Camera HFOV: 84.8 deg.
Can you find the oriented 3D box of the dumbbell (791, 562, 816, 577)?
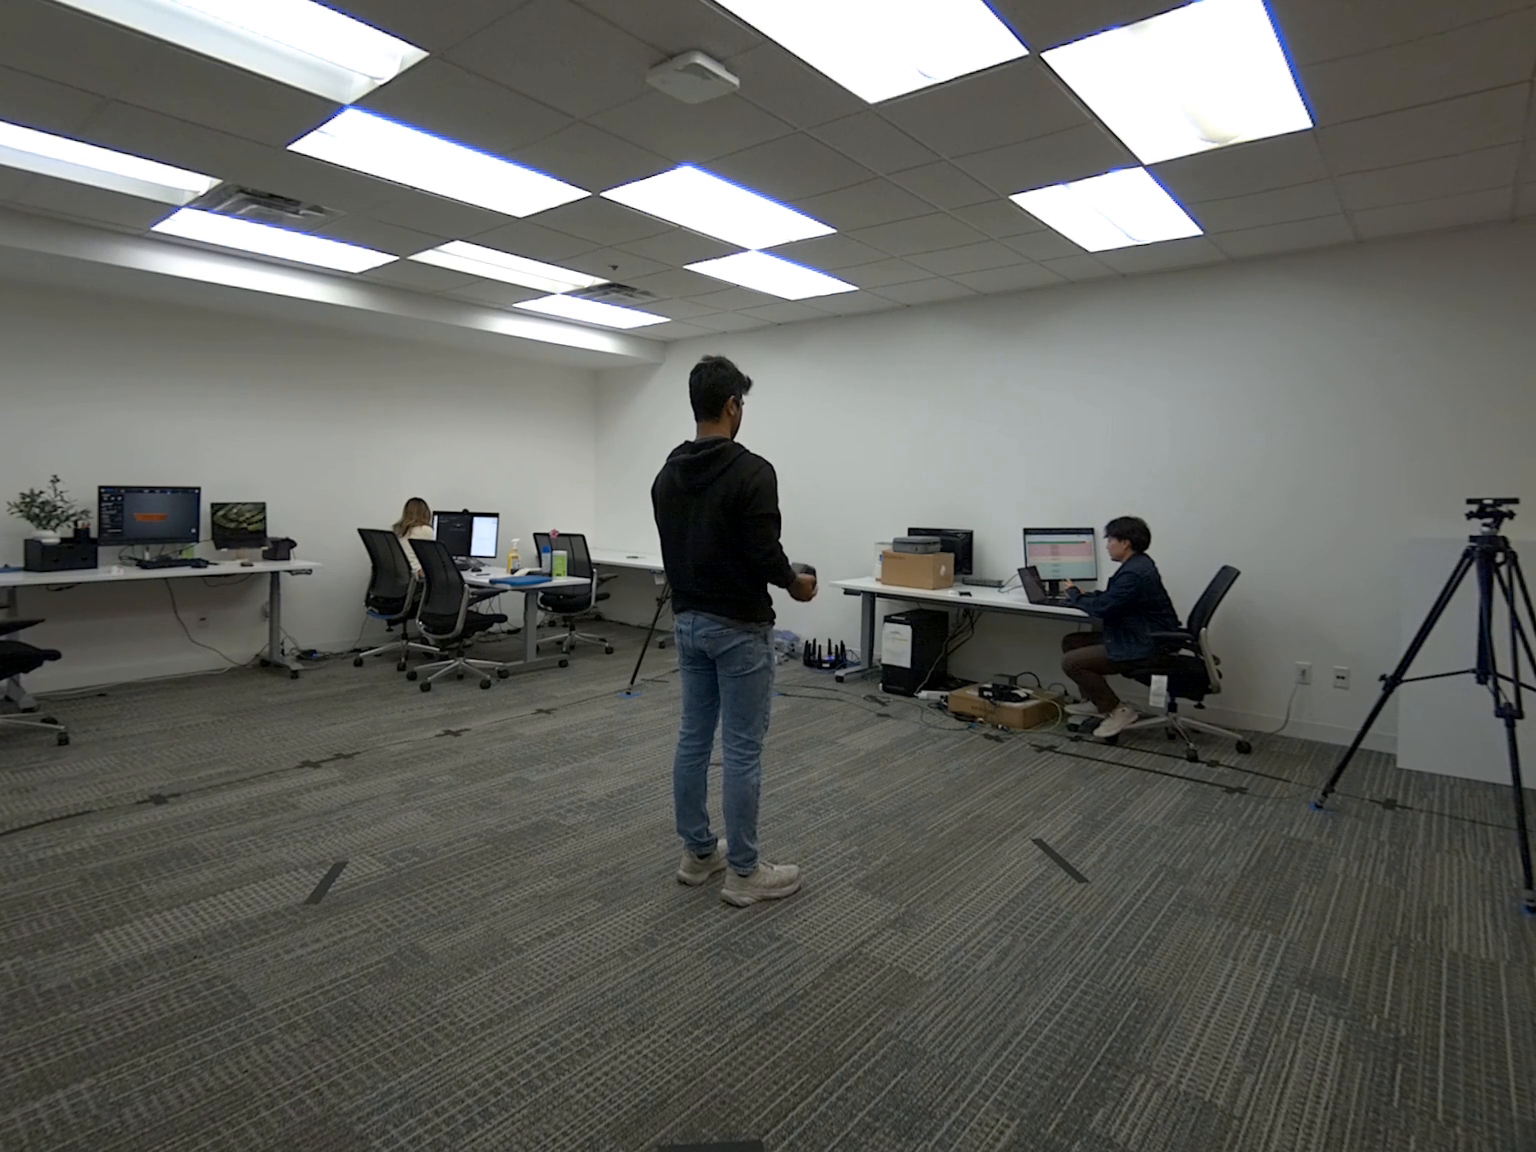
[{"bbox_3d":[0.023,-0.008,3.149,0.304,0.121,0.107,6,23,41],"label":"dumbbell"}]
